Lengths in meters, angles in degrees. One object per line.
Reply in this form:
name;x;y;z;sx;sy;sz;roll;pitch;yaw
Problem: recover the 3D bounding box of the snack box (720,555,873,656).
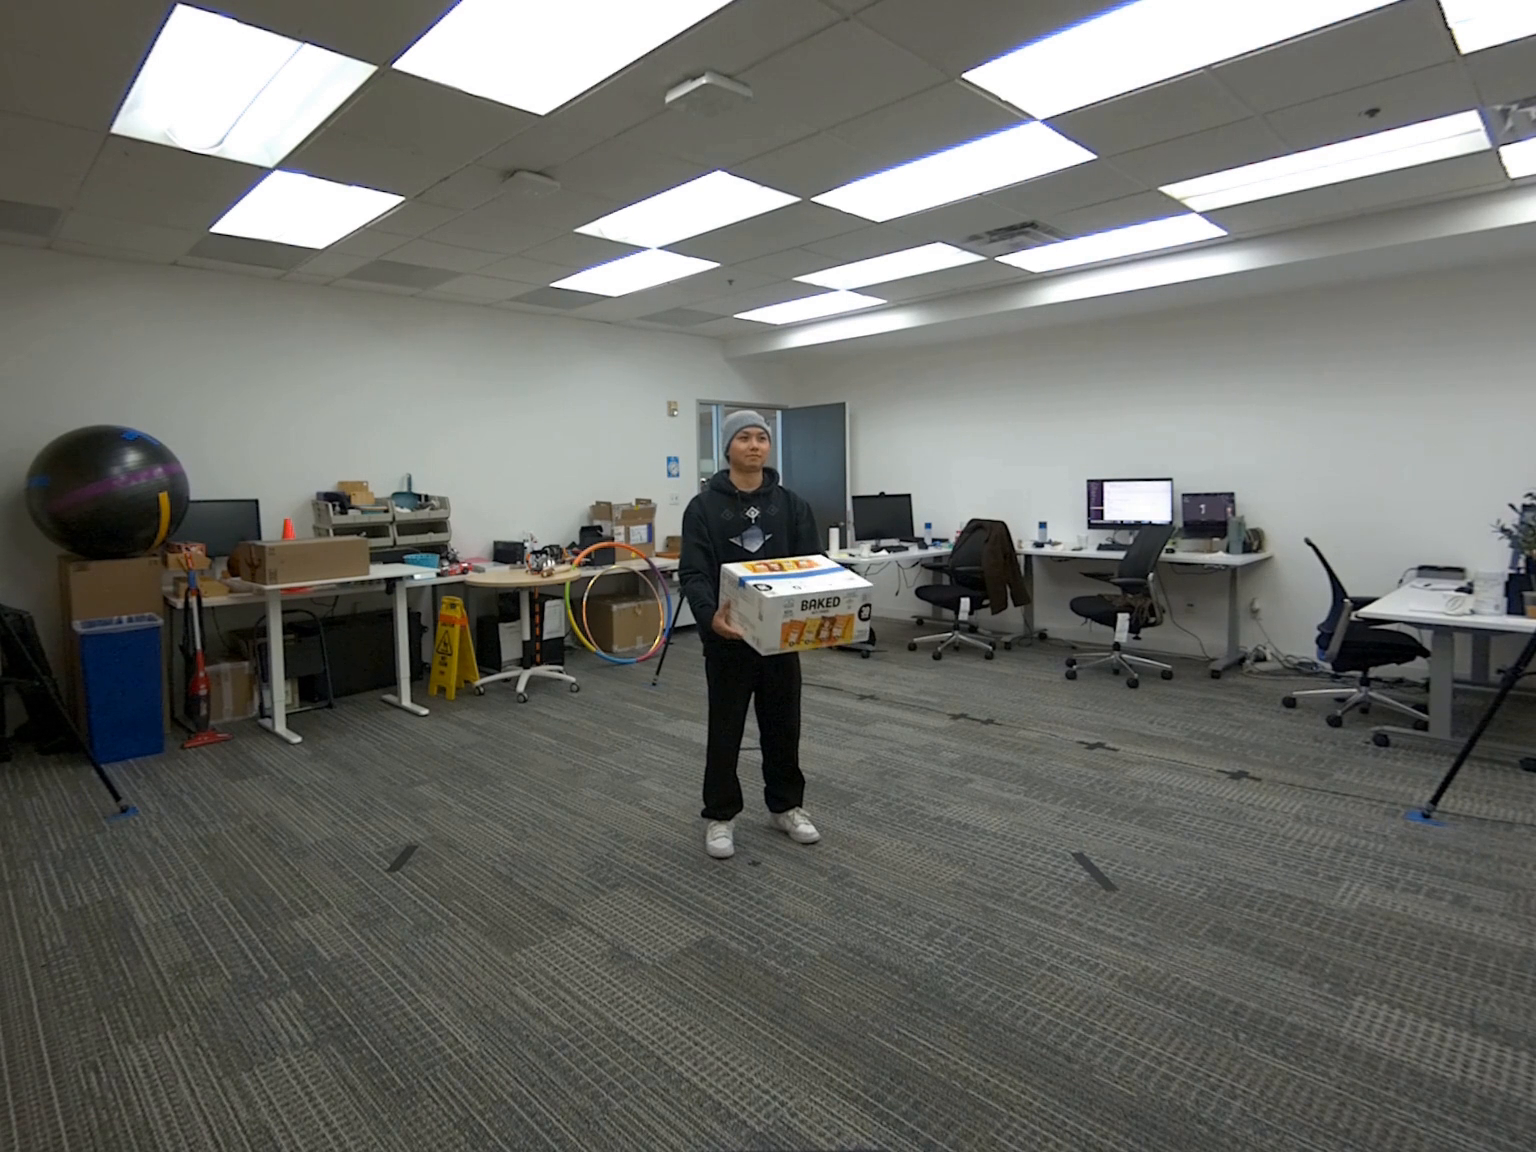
snack box;0.085;0.089;2.901;0.397;0.203;0.352;-6;19;-25
